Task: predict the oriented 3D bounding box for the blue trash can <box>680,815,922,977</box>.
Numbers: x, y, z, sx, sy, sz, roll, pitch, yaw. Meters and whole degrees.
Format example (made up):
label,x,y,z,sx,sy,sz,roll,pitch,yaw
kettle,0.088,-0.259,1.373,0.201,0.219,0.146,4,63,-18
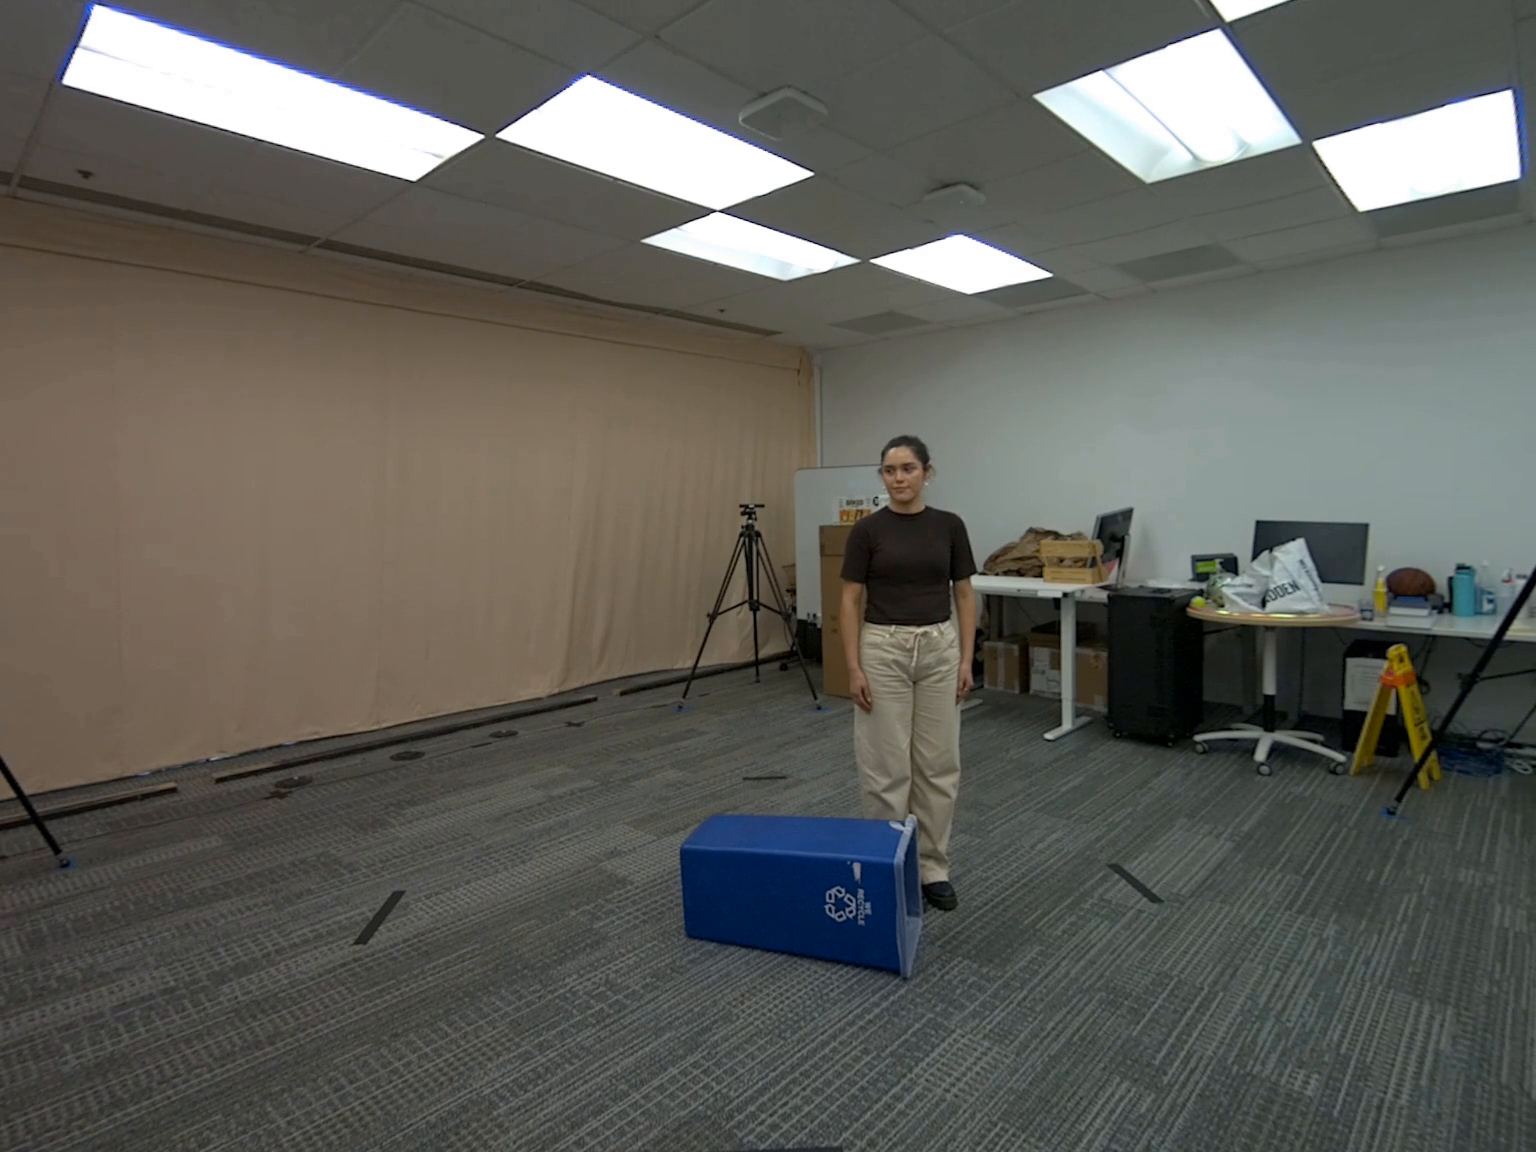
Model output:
label,x,y,z,sx,sy,sz,roll,pitch,yaw
blue trash can,0.111,0.990,2.729,0.728,0.373,0.371,-2,3,20
